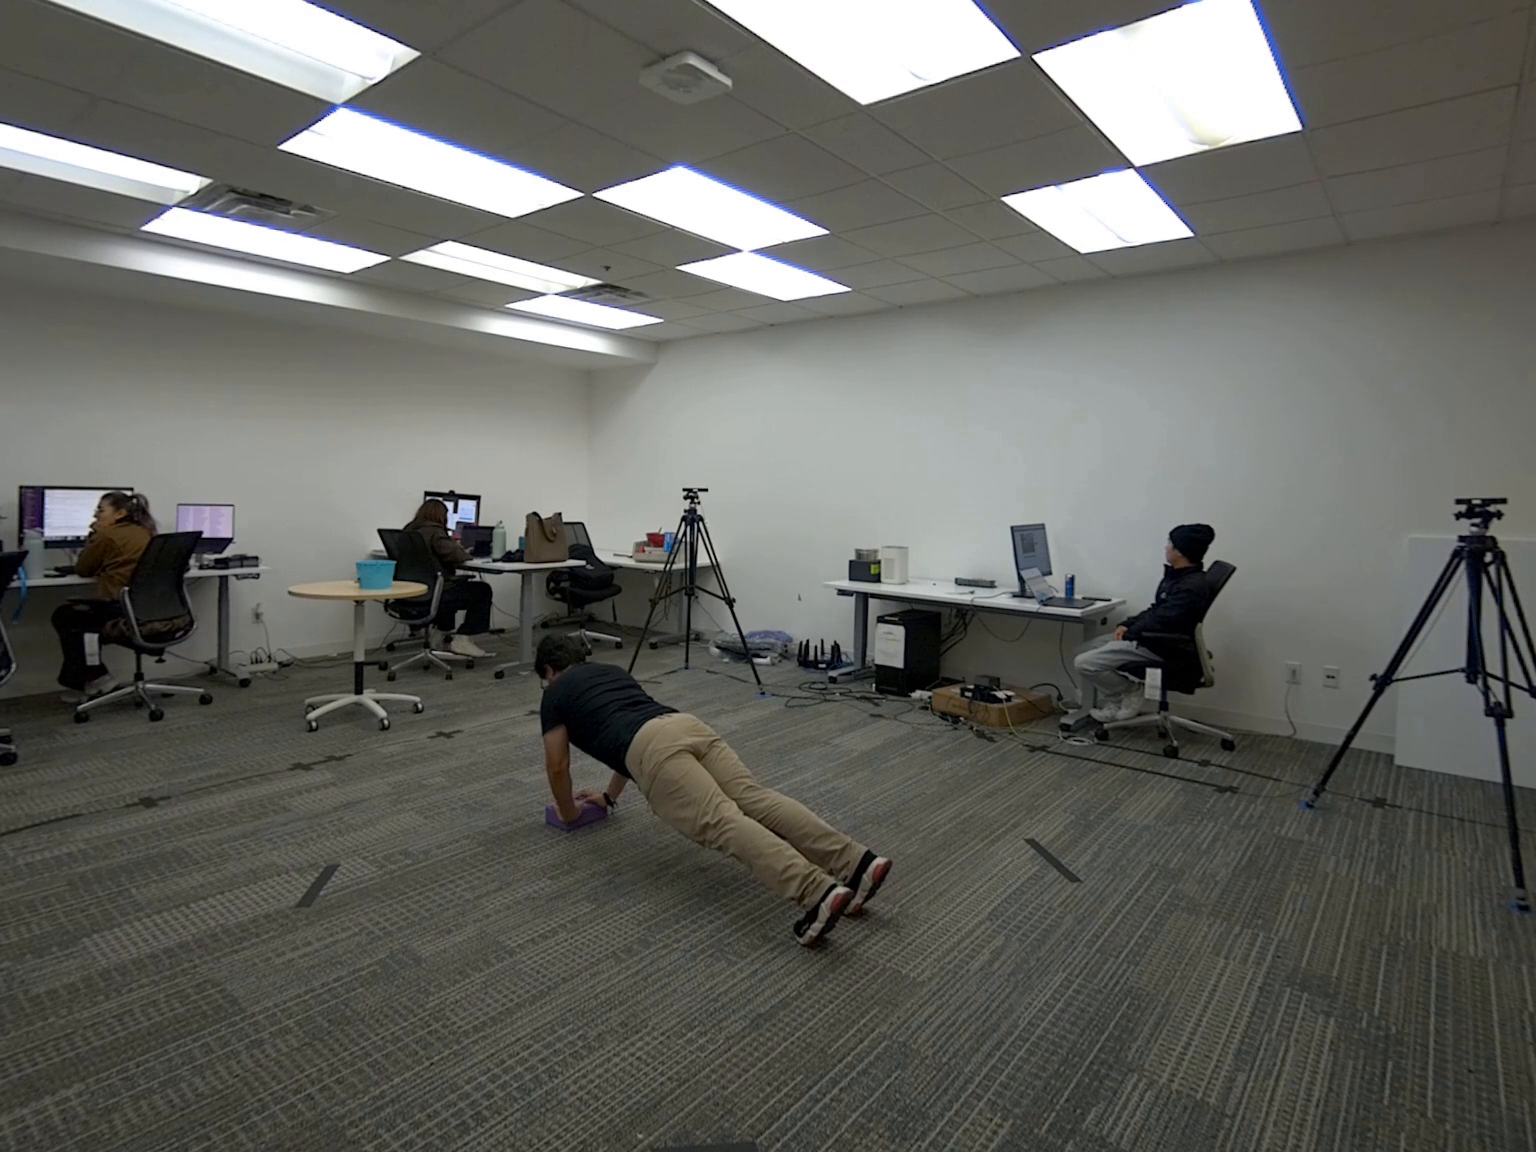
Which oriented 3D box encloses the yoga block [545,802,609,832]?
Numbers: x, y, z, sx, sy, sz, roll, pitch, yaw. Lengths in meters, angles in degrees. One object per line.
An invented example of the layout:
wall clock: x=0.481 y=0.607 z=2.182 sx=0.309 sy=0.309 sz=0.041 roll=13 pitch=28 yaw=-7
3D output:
yoga block: x=-0.813 y=0.983 z=3.566 sx=0.154 sy=0.076 sz=0.222 roll=4 pitch=5 yaw=37
